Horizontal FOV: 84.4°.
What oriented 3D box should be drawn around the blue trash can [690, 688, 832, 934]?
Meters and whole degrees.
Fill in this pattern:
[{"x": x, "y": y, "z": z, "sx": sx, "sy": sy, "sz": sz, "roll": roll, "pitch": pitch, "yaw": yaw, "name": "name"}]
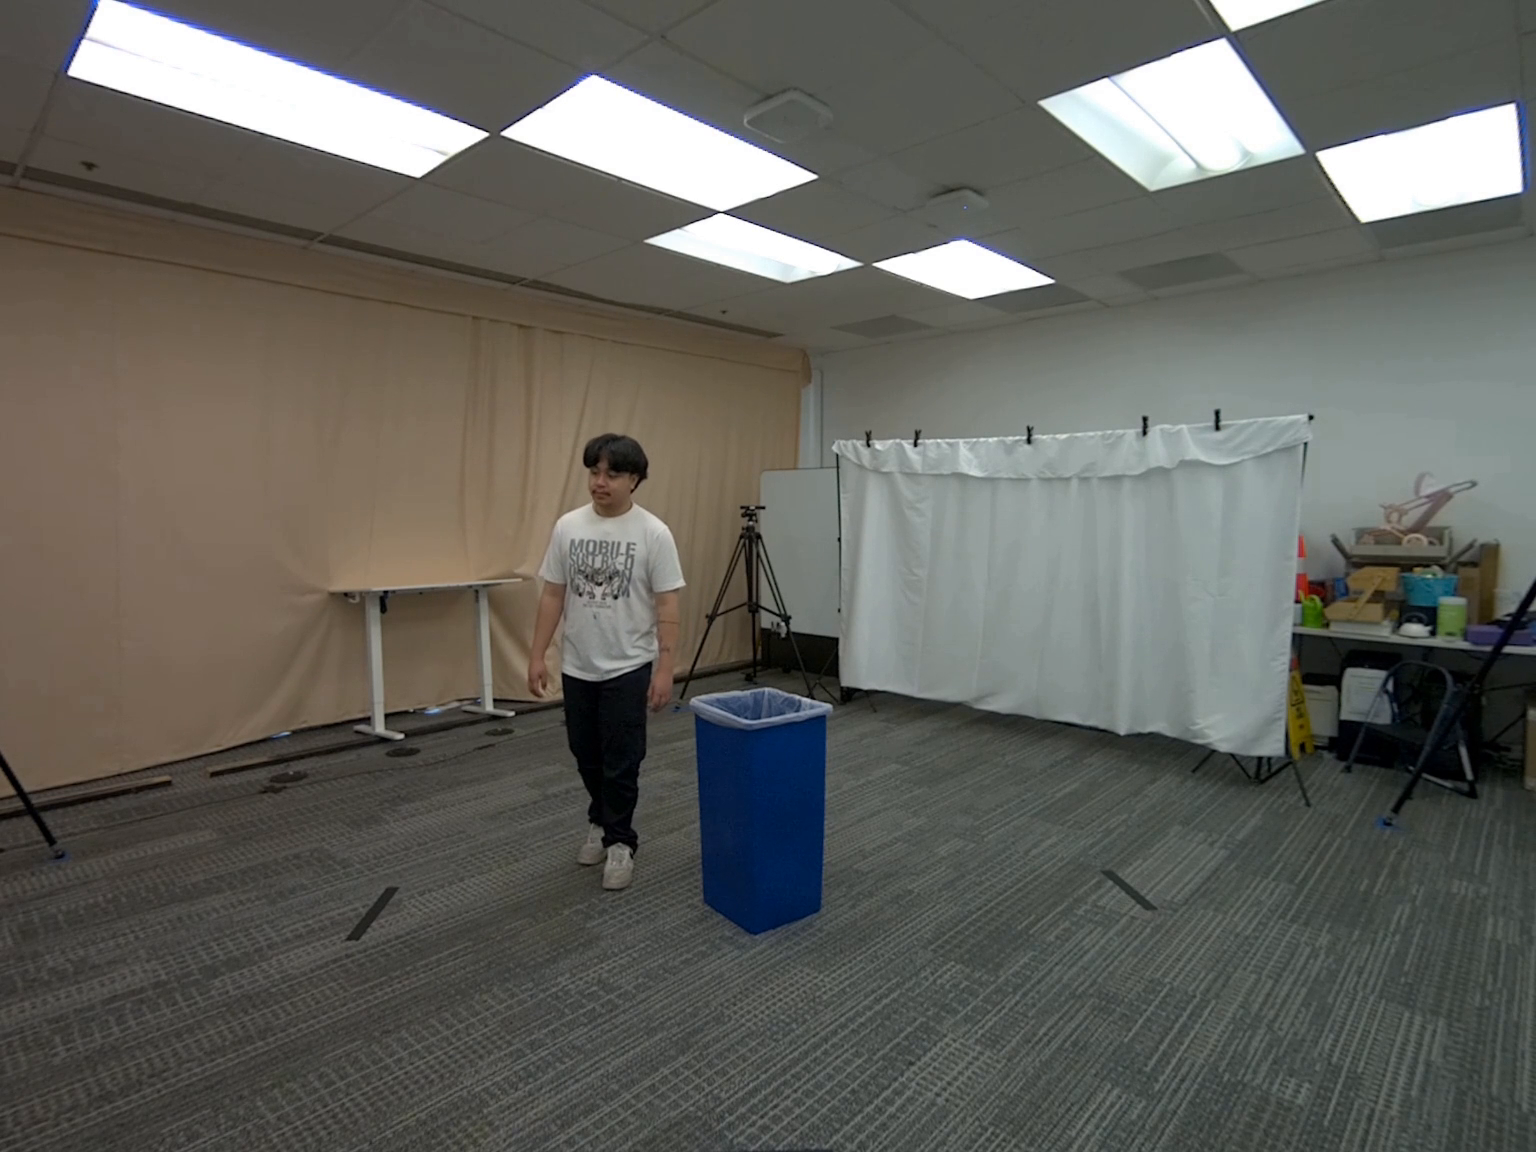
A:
[{"x": -0.025, "y": 0.792, "z": 2.905, "sx": 0.363, "sy": 0.712, "sz": 0.390, "roll": -2, "pitch": 4, "yaw": -38, "name": "blue trash can"}]
